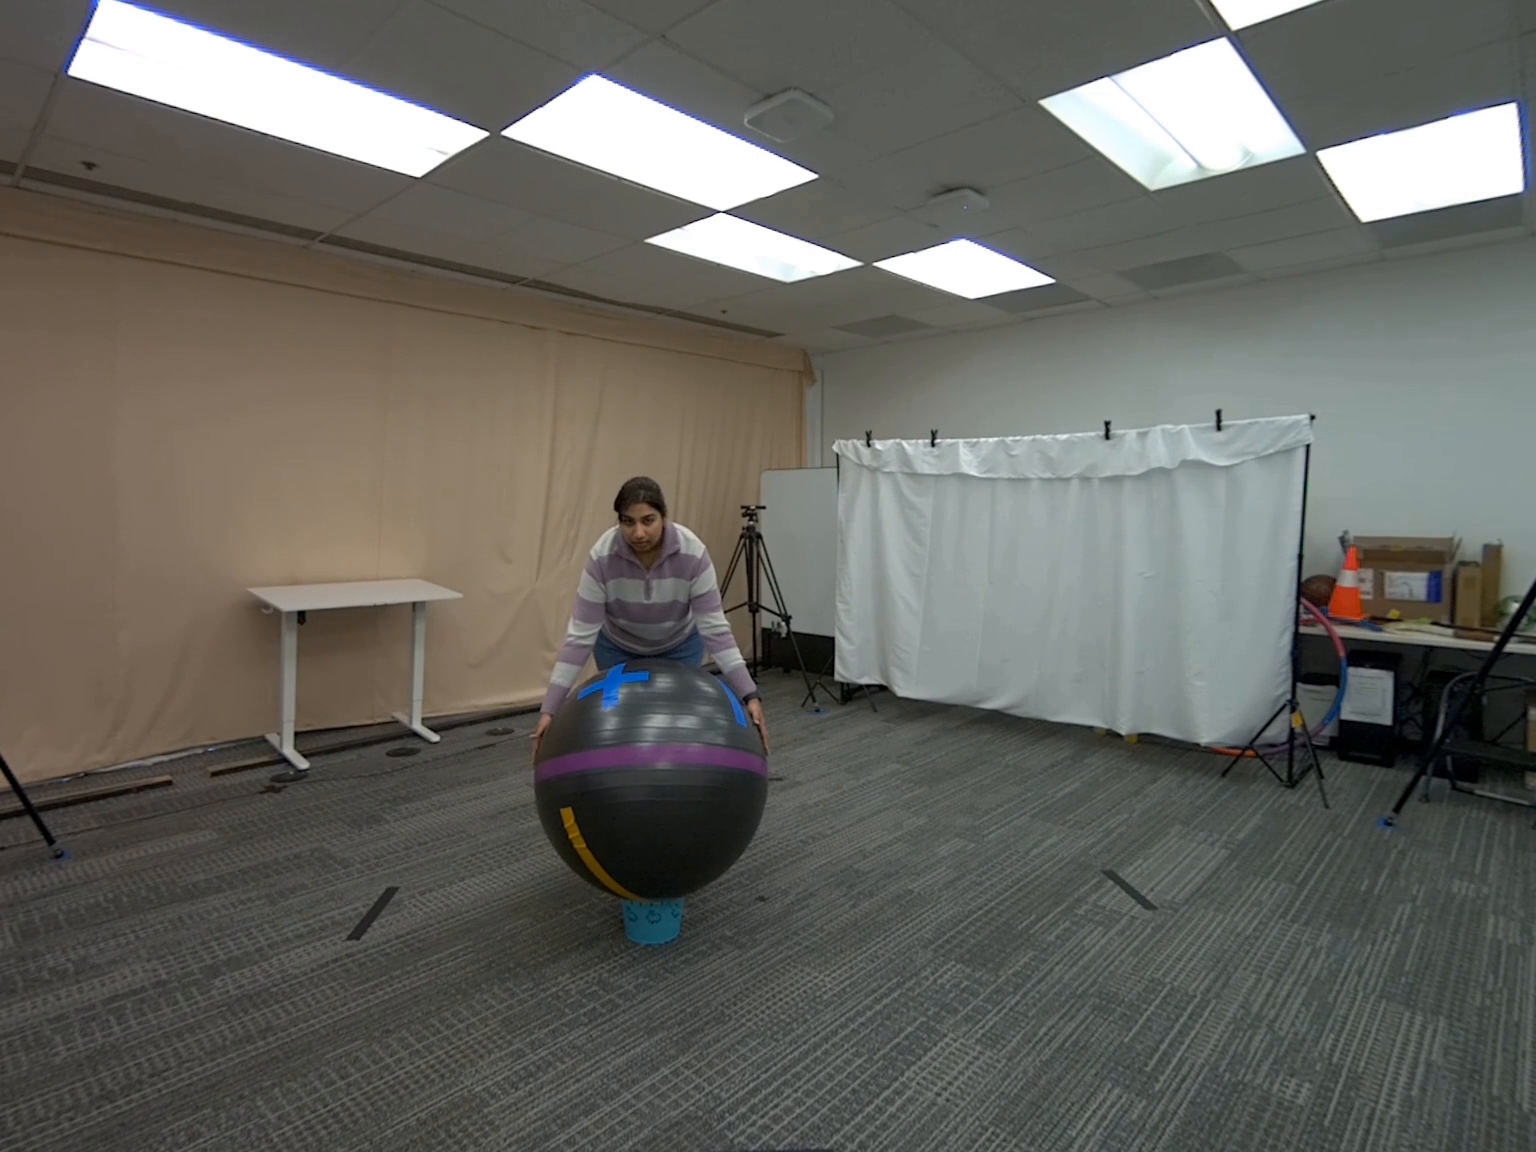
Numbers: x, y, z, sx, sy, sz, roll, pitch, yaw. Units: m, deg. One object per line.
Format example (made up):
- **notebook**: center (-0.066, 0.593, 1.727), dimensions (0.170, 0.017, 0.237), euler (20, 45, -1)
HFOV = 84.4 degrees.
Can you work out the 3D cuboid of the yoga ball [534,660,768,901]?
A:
- **yoga ball**: center (-0.389, 0.658, 2.756), dimensions (0.757, 0.756, 0.760), euler (0, 4, -2)
